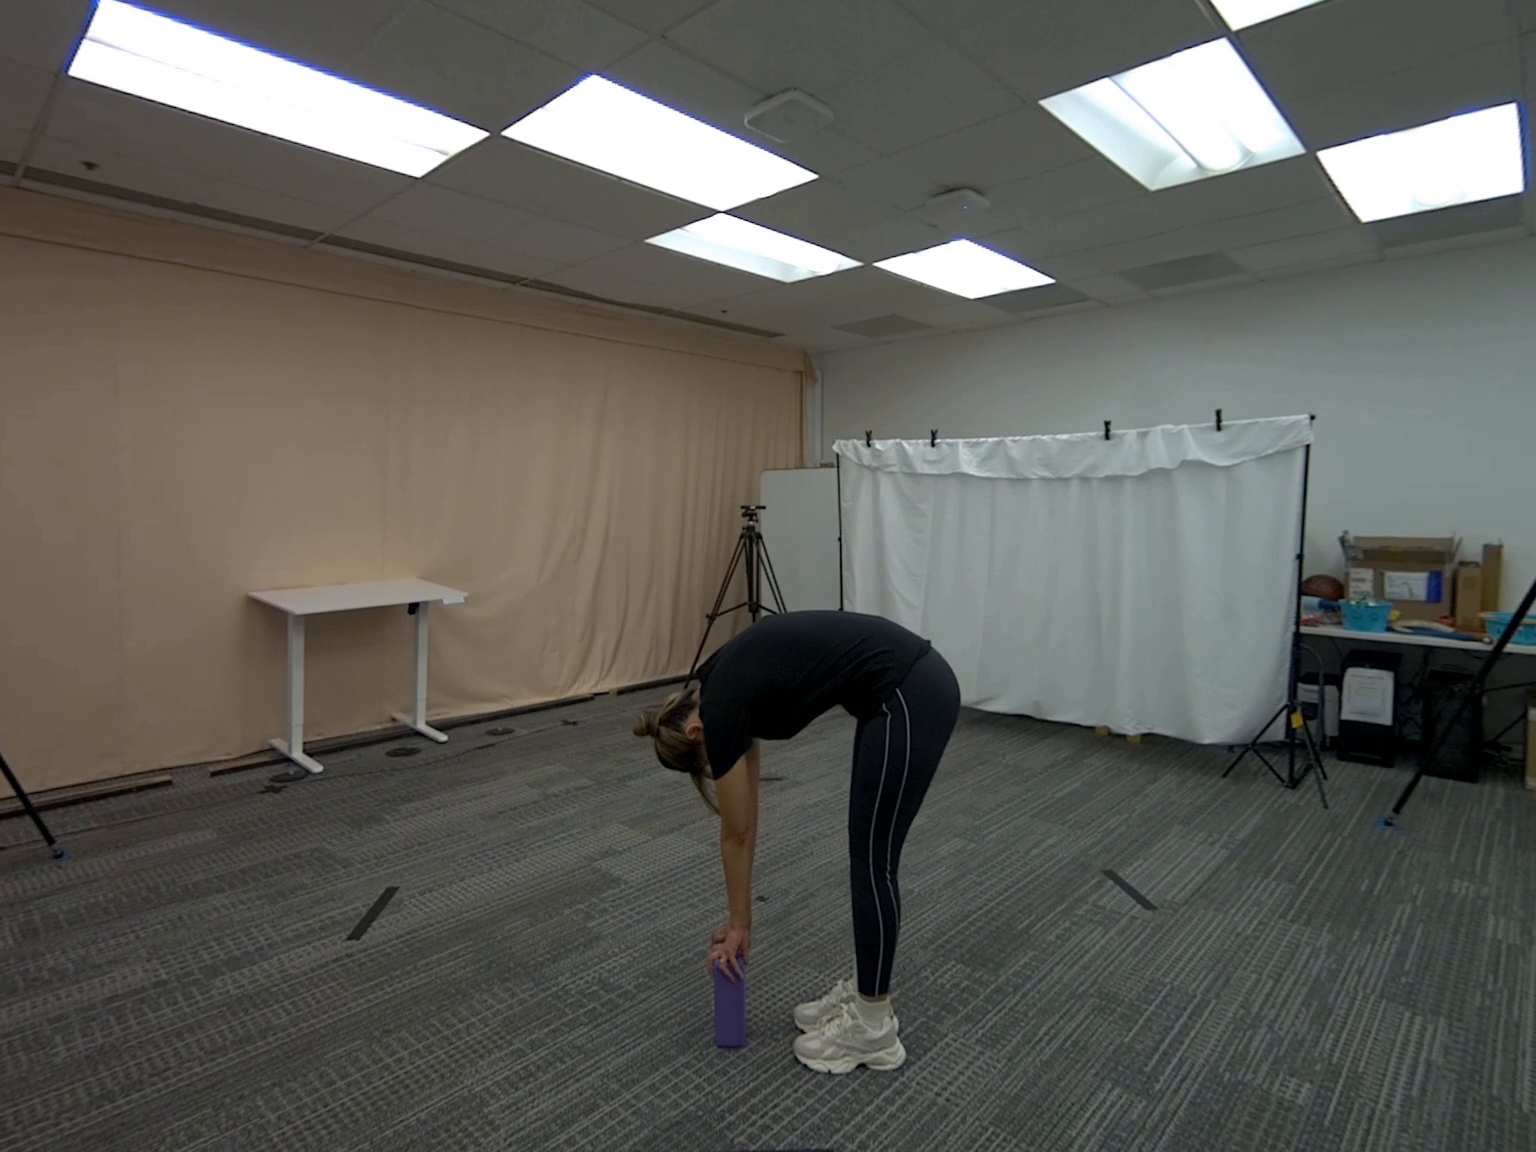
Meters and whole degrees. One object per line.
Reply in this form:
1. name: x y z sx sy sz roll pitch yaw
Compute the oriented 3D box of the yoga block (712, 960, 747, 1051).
1. yoga block: -0.098 1.102 2.224 0.076 0.229 0.149 1 1 -1
